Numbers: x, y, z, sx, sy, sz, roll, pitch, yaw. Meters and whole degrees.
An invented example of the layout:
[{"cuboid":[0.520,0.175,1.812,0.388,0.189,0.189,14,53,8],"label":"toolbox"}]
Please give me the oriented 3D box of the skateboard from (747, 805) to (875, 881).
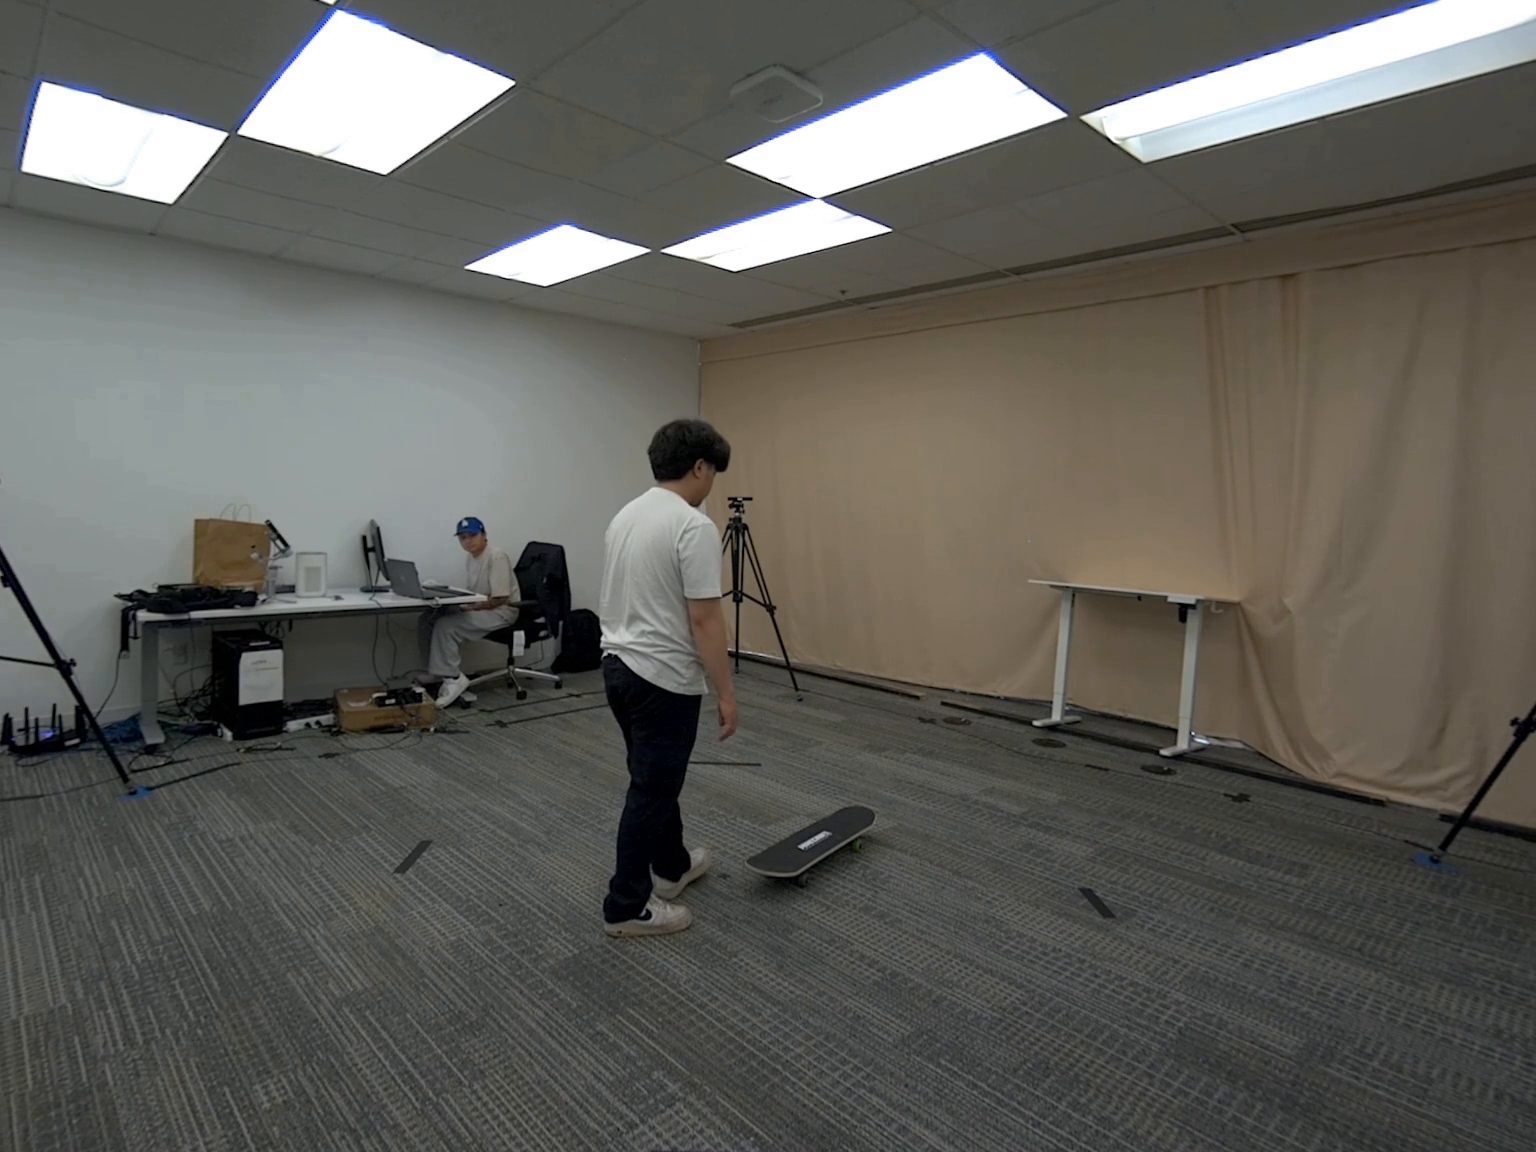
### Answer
[{"cuboid":[0.175,1.045,3.233,0.198,0.110,0.769,4,6,34],"label":"skateboard"}]
